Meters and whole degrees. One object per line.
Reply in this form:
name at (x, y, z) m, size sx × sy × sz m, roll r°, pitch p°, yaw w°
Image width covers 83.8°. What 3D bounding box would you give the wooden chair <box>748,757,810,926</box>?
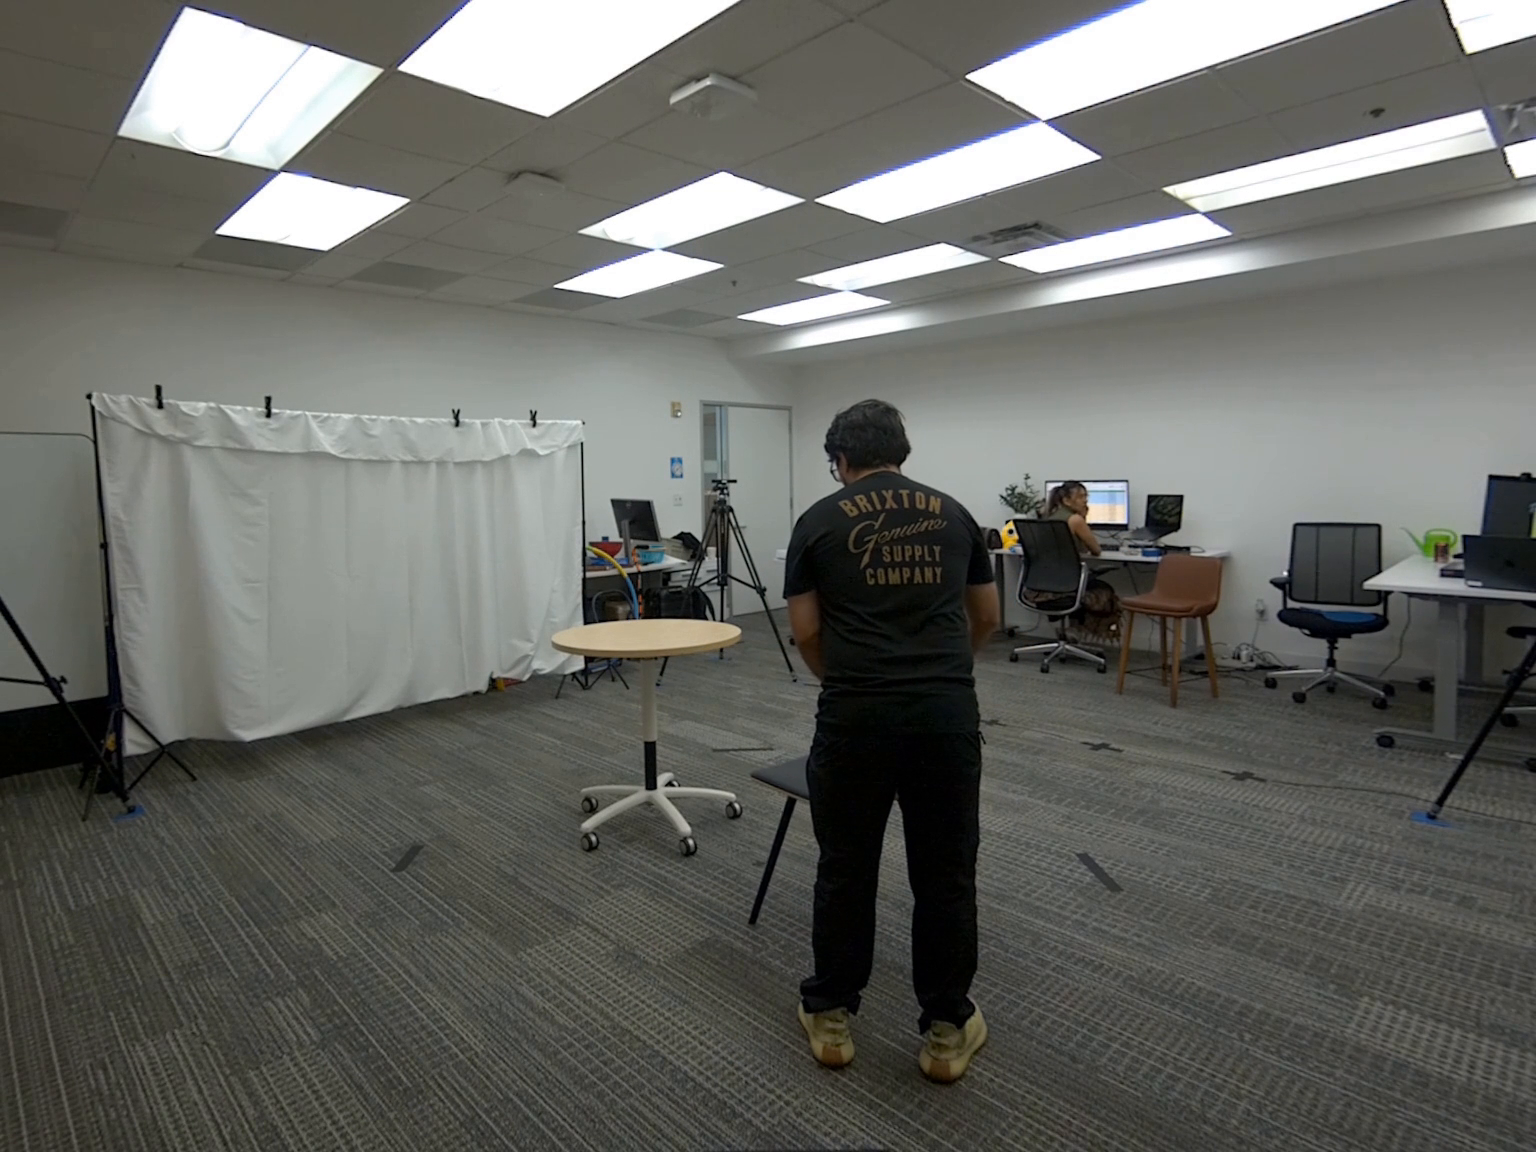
wooden chair at (0.255, 0.670, 2.640) m, size 0.465 × 0.871 × 0.541 m, roll -5°, pitch 10°, yaw -43°
